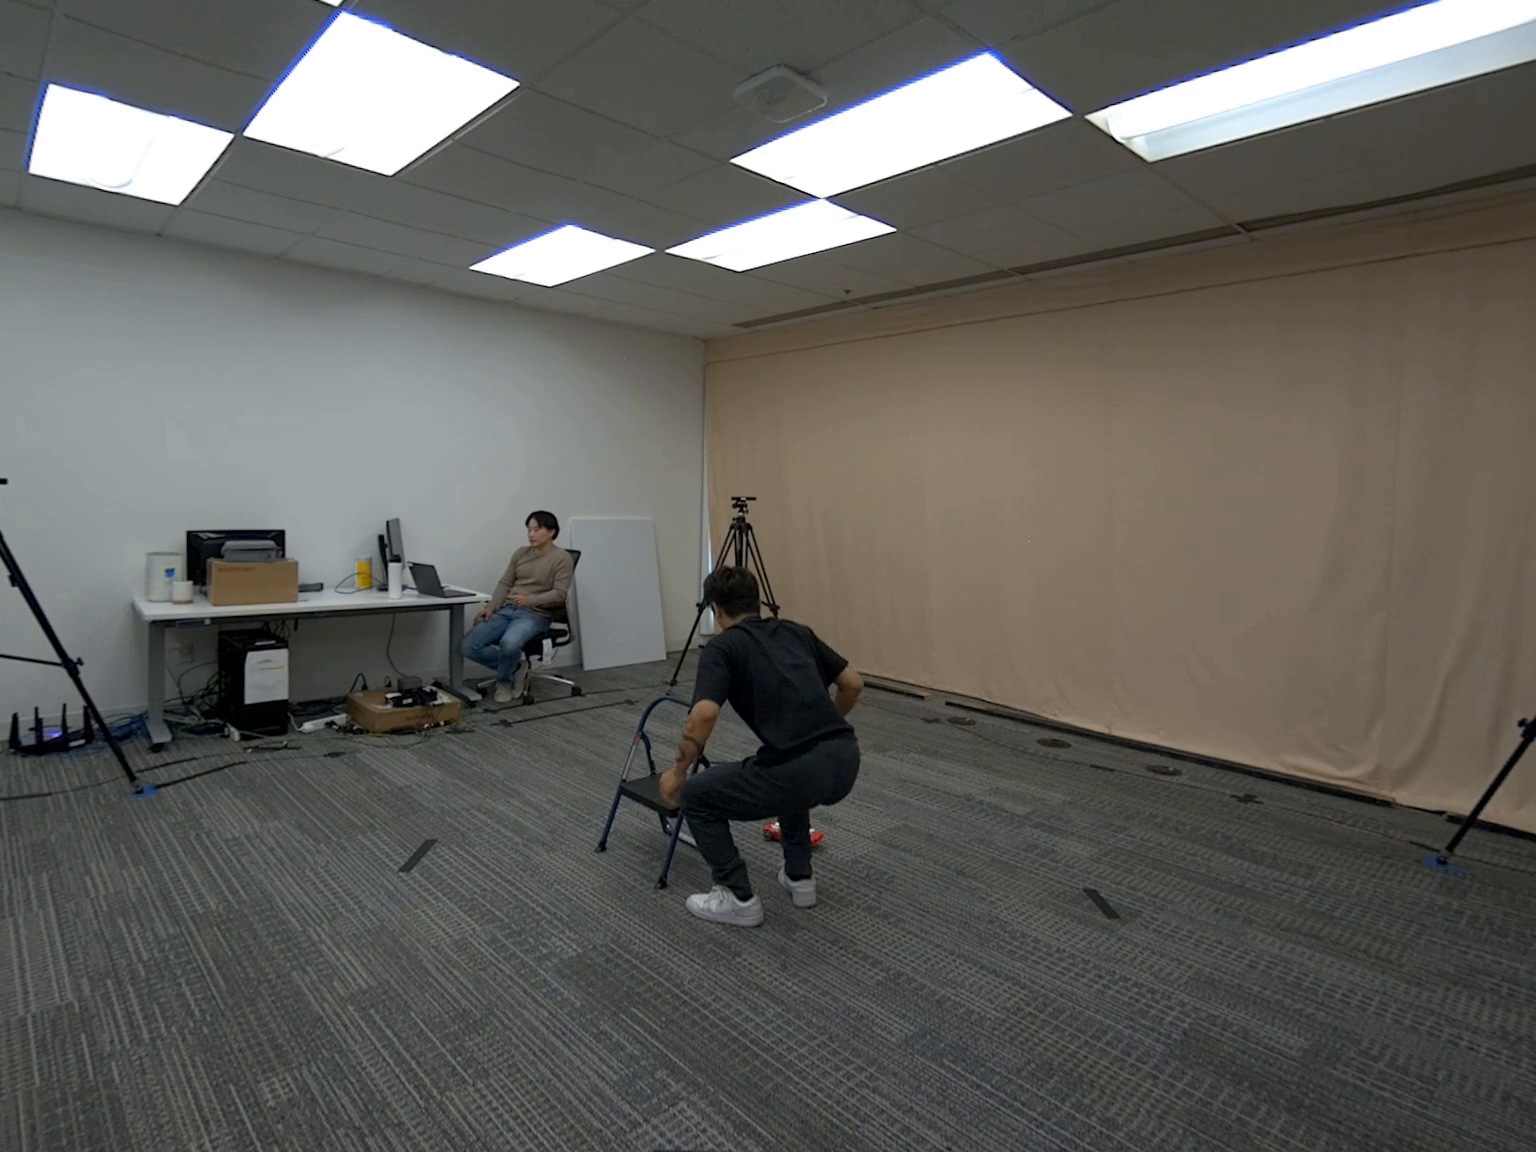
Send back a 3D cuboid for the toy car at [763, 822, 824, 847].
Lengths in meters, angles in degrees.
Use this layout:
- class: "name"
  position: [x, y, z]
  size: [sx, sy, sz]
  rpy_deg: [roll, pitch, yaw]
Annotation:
- class: "toy car"
  position: [0.098, 1.059, 3.428]
  size: [0.259, 0.083, 0.127]
  rpy_deg: [-8, -4, 34]
